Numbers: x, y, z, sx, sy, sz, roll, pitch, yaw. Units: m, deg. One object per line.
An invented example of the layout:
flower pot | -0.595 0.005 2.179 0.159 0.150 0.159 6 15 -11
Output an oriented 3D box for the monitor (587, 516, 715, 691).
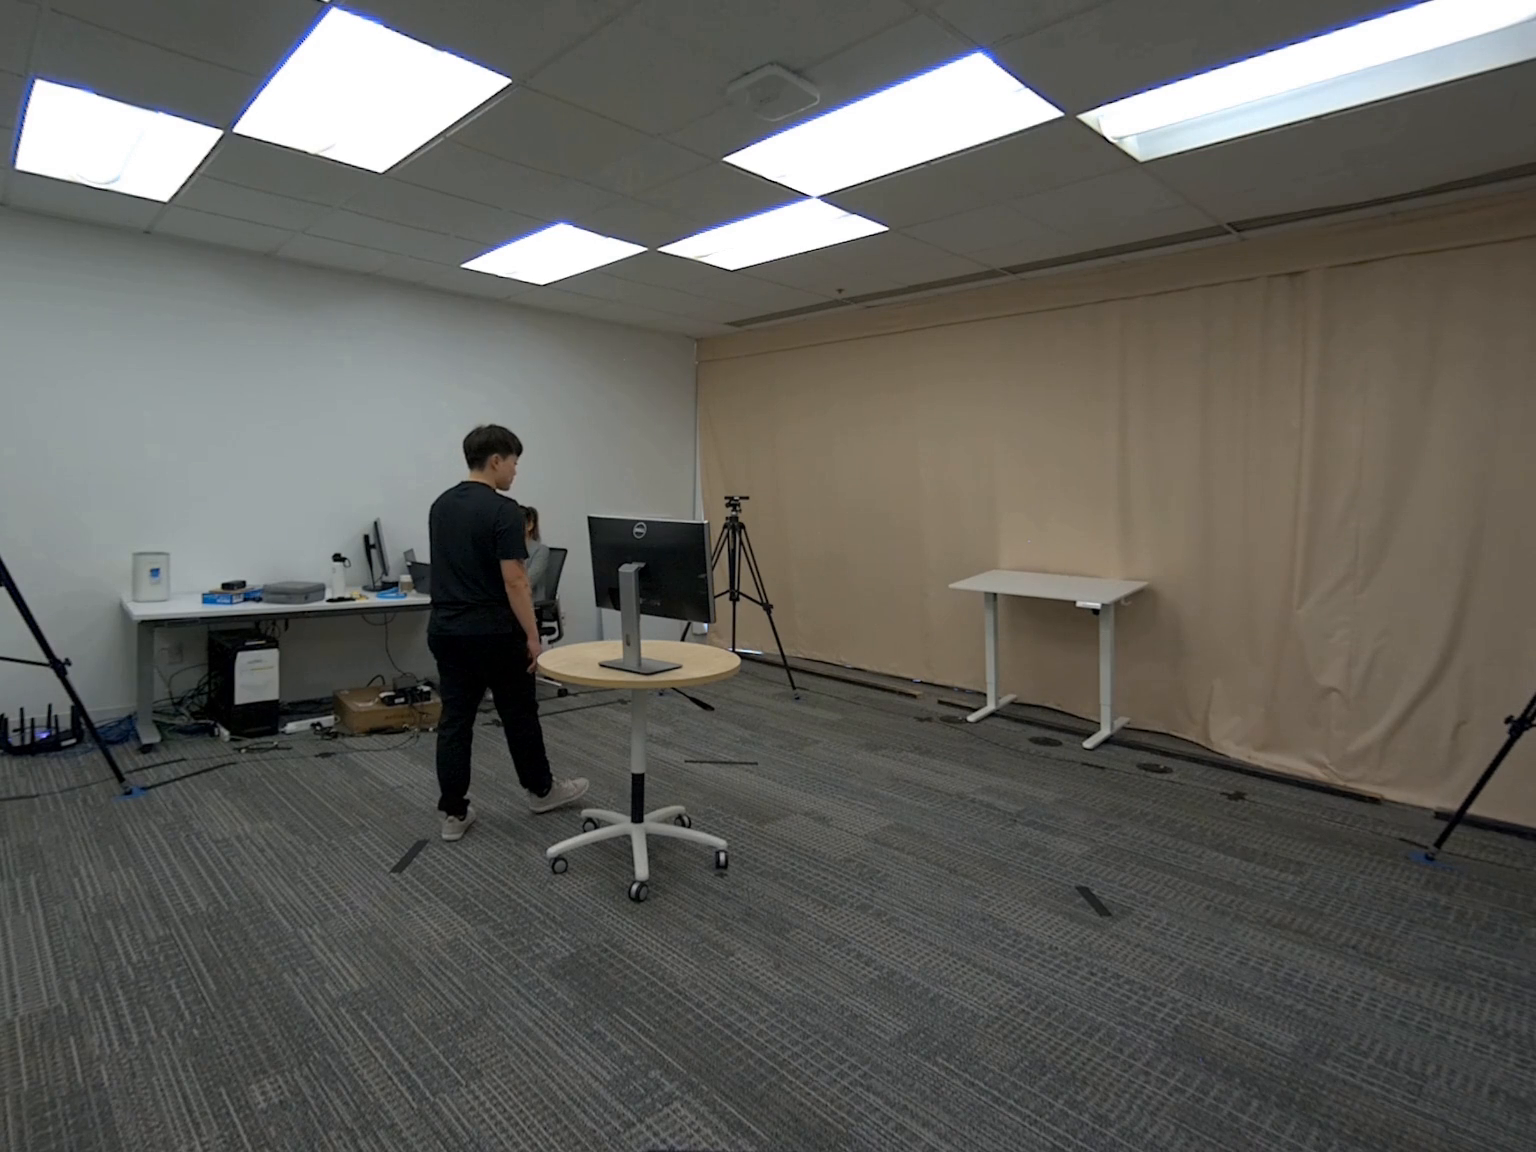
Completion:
monitor | -0.457 0.068 3.021 0.551 0.521 0.183 5 3 32
